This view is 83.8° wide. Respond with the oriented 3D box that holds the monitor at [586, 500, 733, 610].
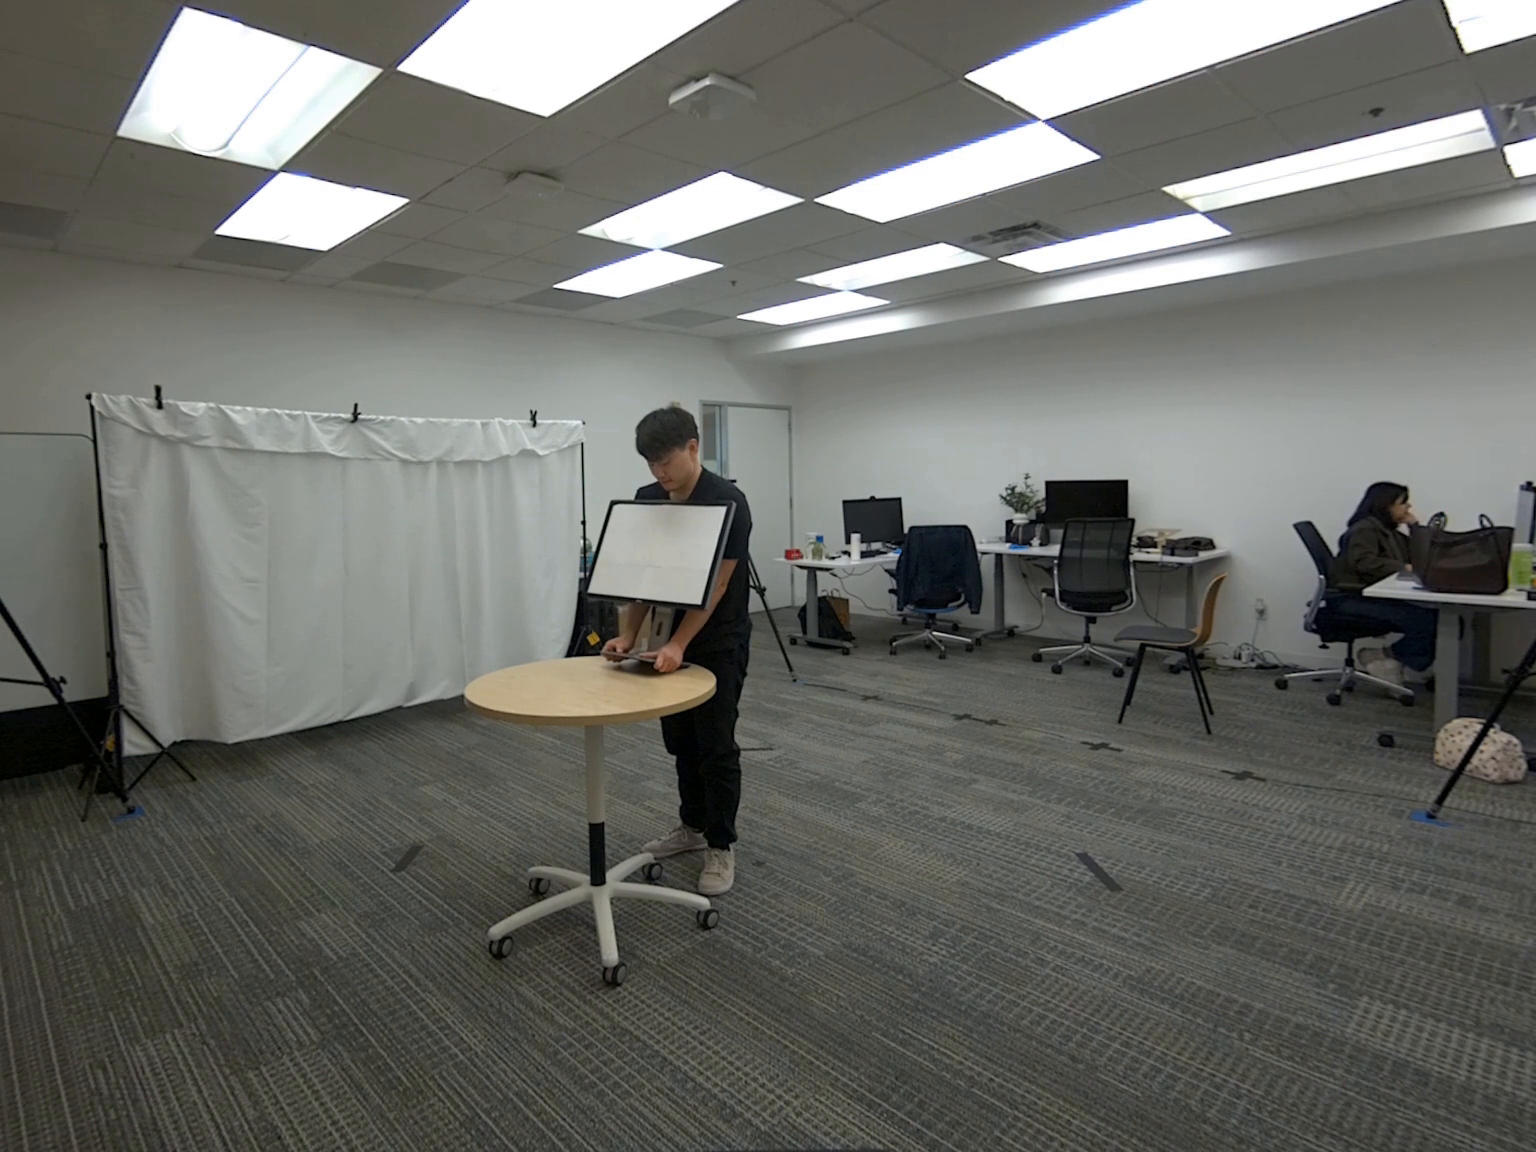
[{"bbox_3d":[-0.373,0.011,2.845,0.555,0.525,0.181,3,-8,37],"label":"monitor"}]
